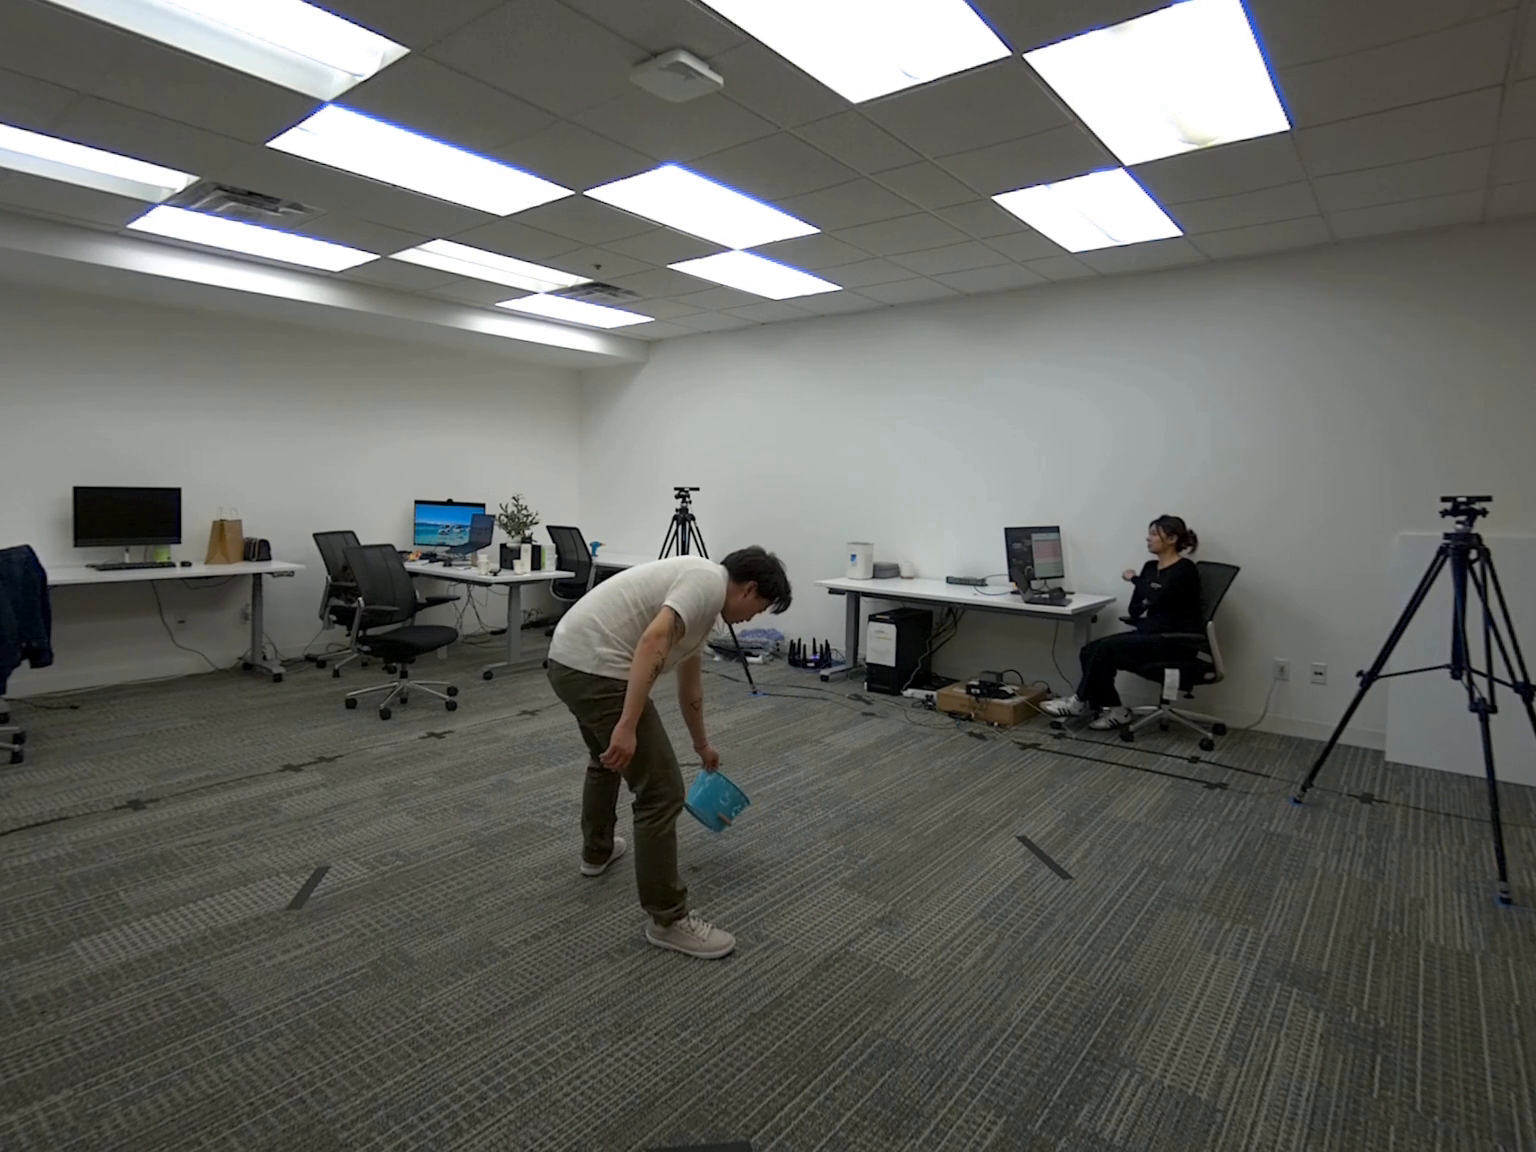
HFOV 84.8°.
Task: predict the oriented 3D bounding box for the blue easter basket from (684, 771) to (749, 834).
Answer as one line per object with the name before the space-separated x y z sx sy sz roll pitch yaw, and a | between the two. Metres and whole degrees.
blue easter basket | -0.219 0.839 3.171 0.156 0.236 0.251 -49 28 -22
